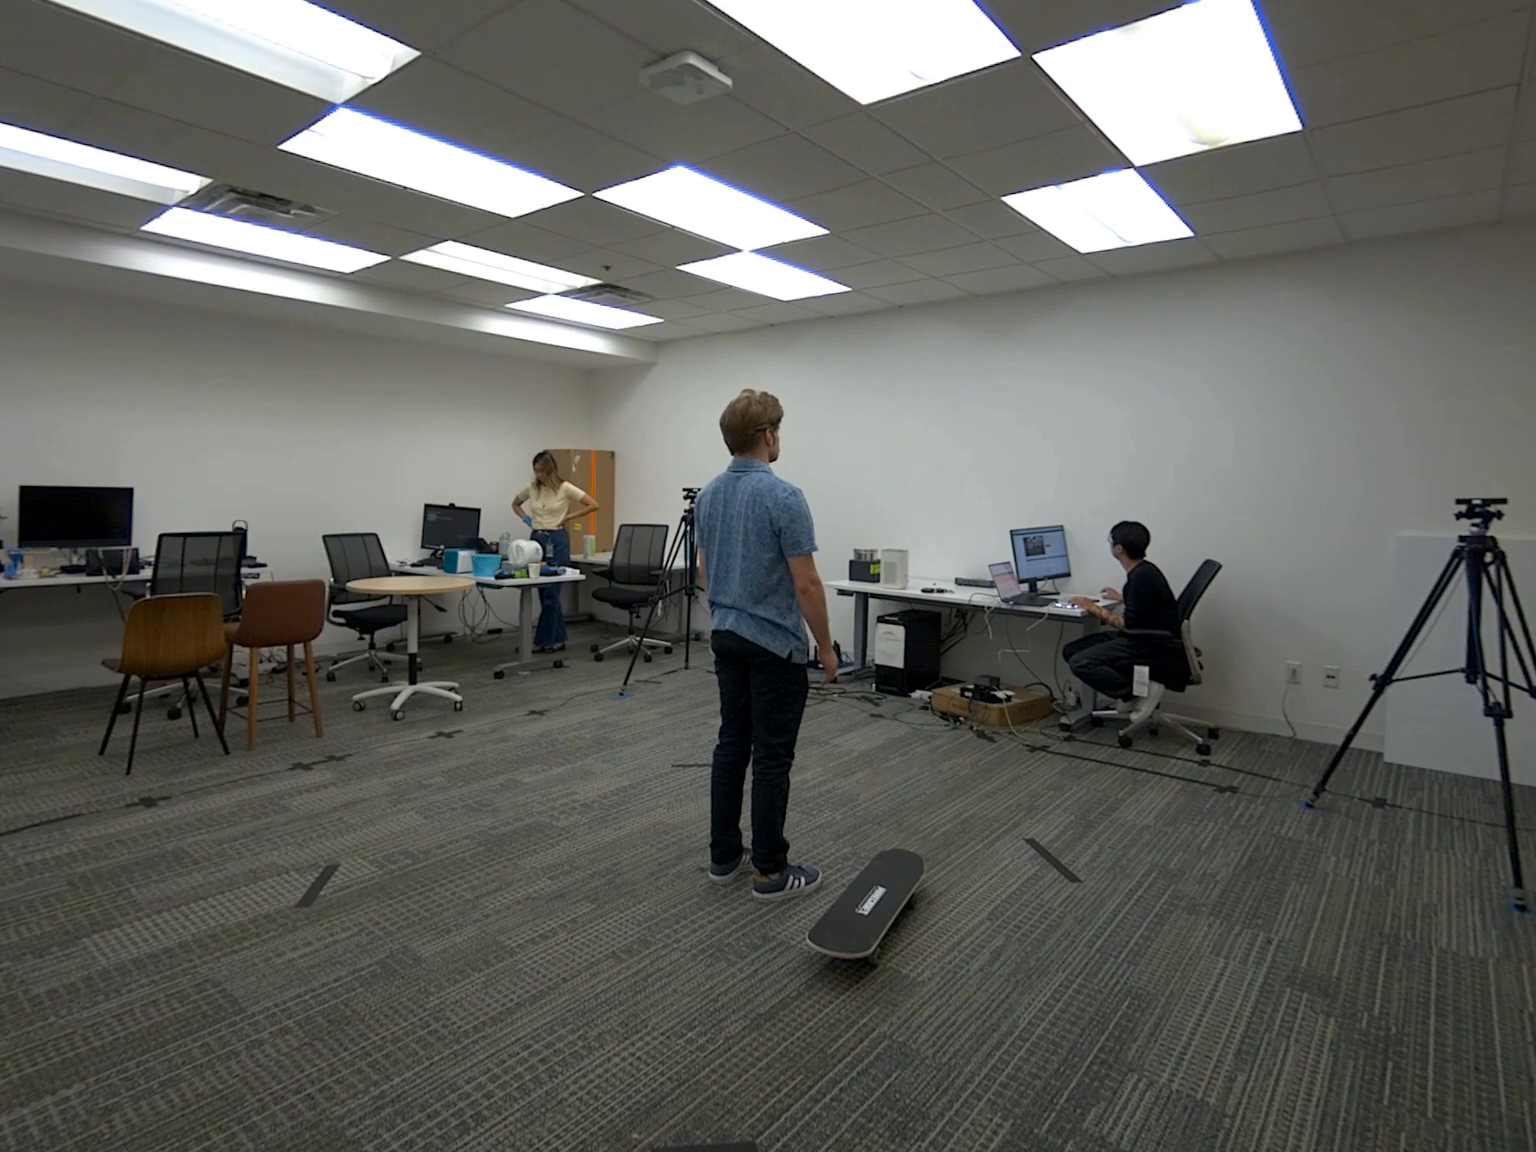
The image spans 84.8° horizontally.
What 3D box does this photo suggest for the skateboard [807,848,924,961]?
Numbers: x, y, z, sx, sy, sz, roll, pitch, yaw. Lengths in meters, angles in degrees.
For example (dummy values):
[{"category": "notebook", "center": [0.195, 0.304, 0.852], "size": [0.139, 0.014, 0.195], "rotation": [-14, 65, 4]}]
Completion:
[{"category": "skateboard", "center": [0.326, 1.066, 2.721], "size": [0.199, 0.110, 0.768], "rotation": [4, 6, 25]}]
